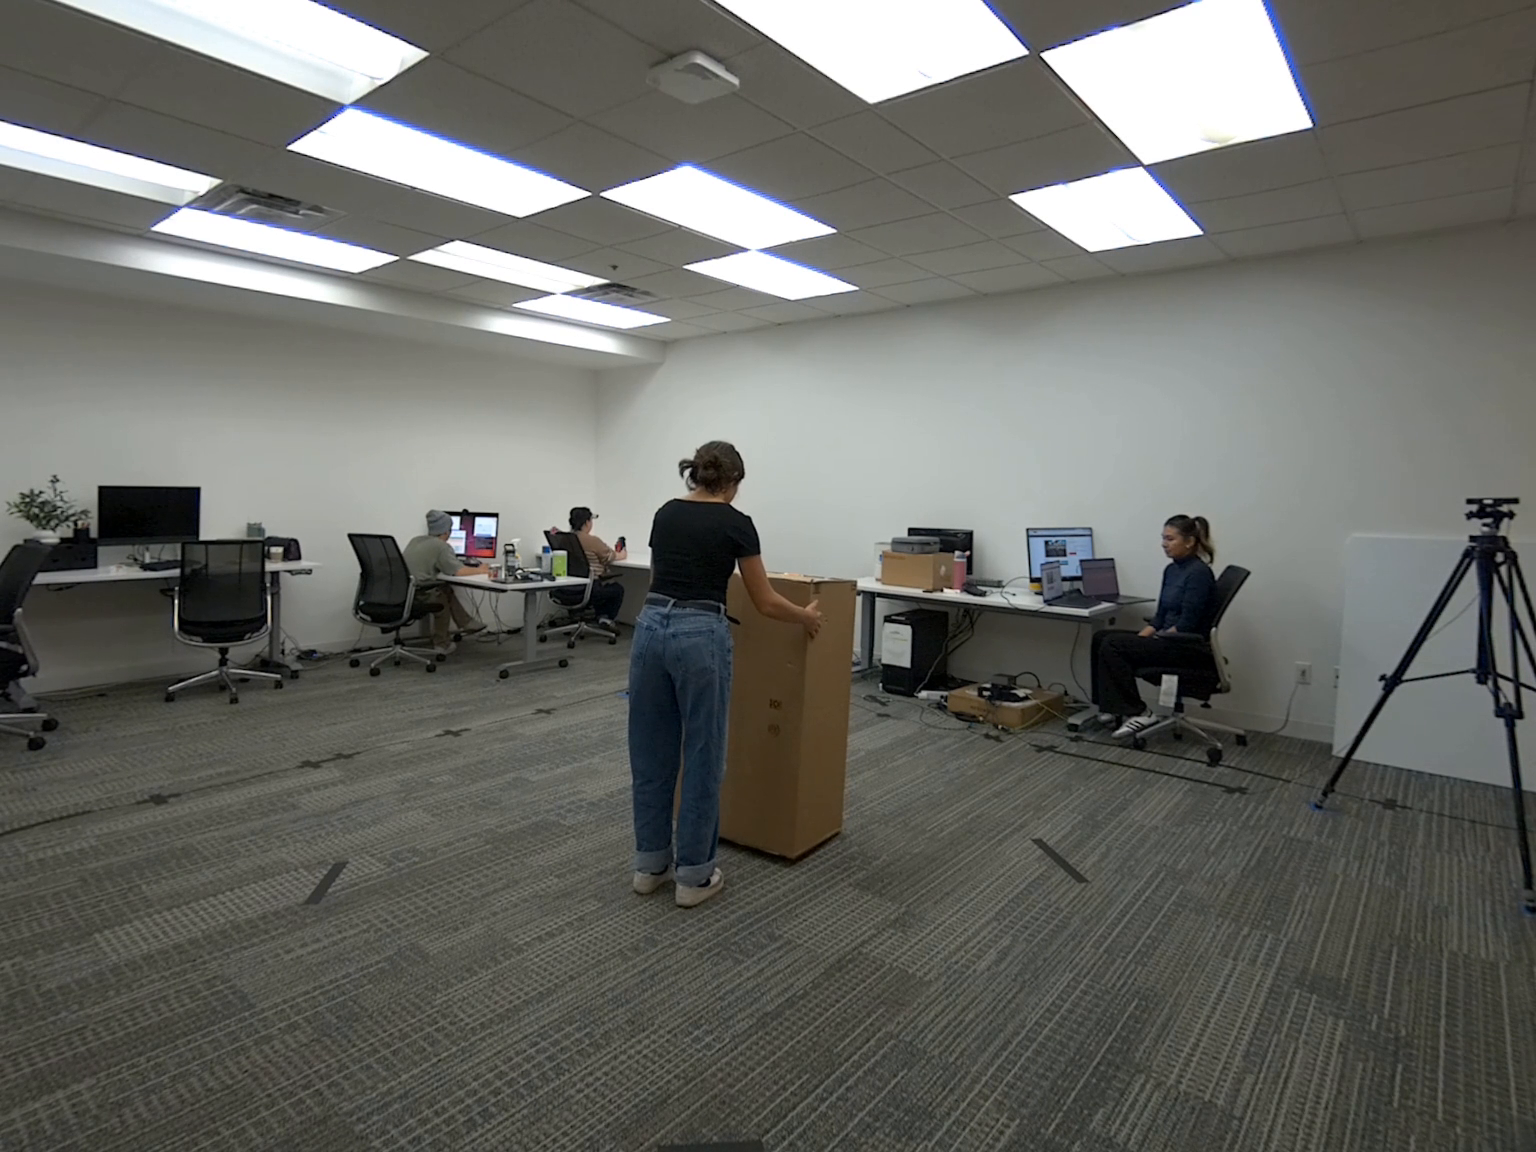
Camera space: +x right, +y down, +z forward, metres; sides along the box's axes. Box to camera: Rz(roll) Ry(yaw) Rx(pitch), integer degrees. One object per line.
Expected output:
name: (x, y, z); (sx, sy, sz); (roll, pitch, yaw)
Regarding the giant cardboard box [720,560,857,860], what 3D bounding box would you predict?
giant cardboard box: (-0.018, 0.502, 3.450); (0.595, 1.026, 0.413); (4, 0, 31)
